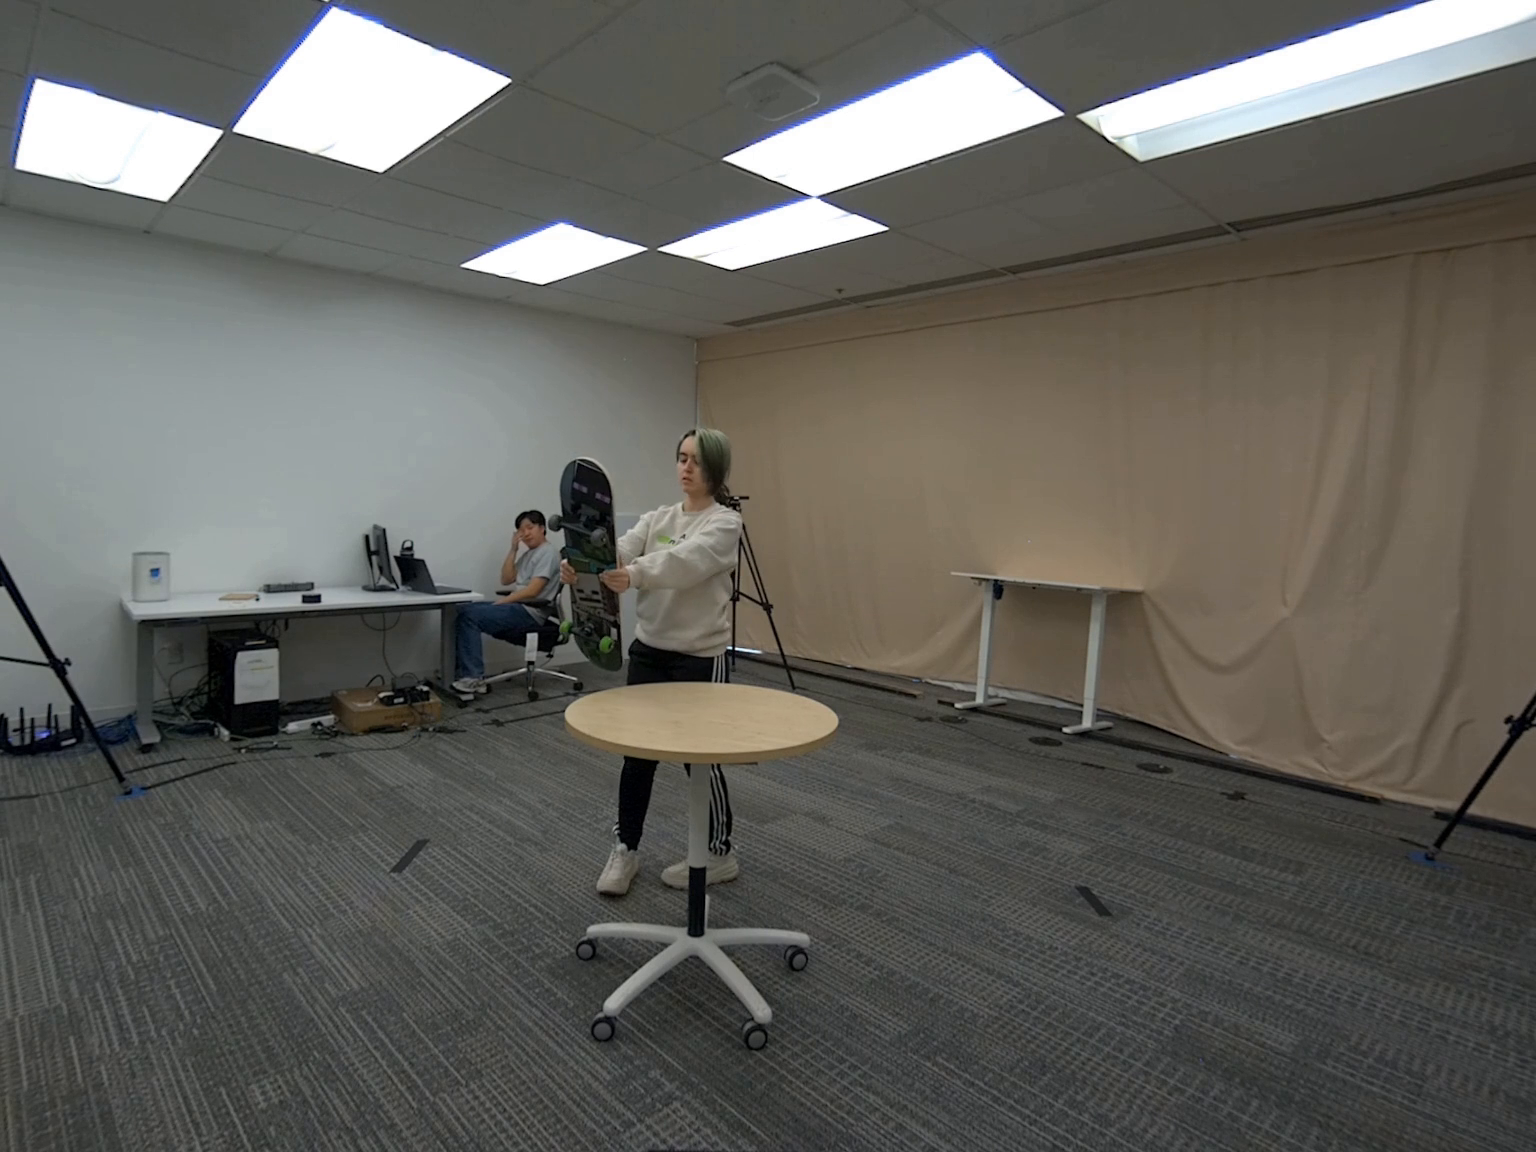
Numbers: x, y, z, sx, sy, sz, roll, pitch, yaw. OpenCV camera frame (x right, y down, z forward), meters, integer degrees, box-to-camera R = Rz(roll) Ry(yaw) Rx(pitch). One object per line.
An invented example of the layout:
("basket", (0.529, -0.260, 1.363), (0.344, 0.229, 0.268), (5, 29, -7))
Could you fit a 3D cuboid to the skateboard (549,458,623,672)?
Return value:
("skateboard", (-0.545, 0.017, 2.543), (0.197, 0.770, 0.110), (19, 37, 21))
